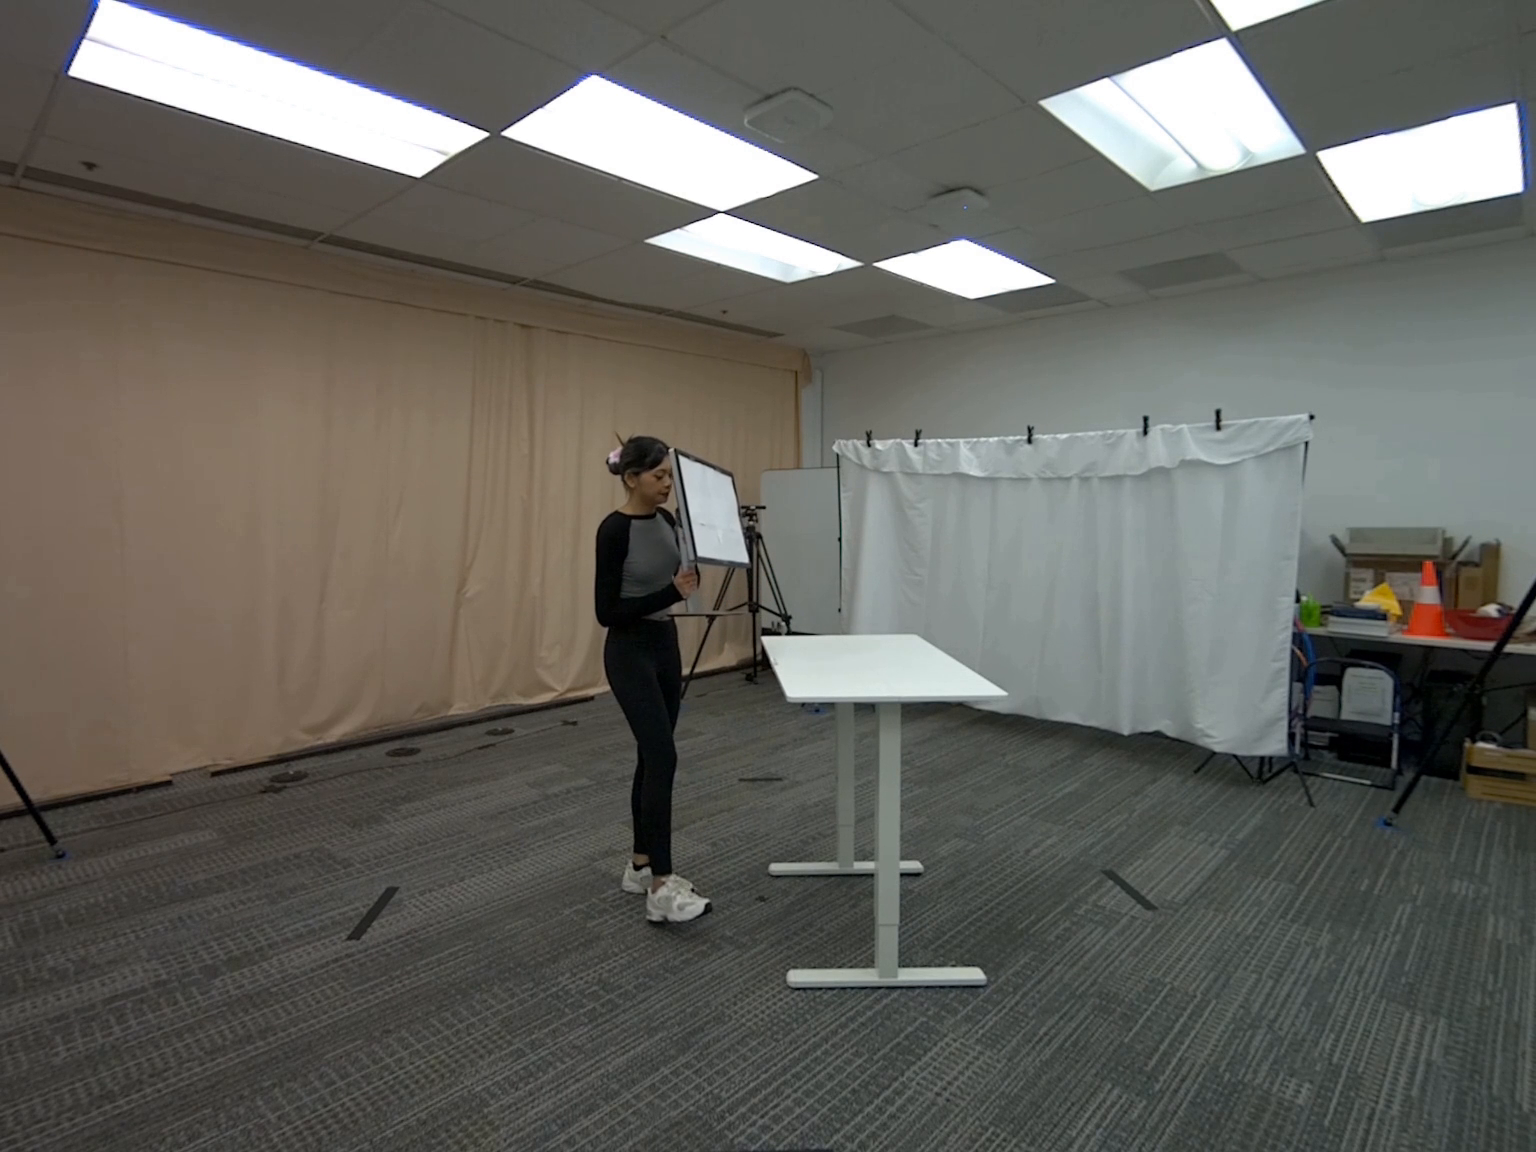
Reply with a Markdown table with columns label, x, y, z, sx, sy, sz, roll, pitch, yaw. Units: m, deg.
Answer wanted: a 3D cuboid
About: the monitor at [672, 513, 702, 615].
| label | x | y | z | sx | sy | sz | roll | pitch | yaw |
| --- | --- | --- | --- | --- | --- | --- | --- | --- | --- |
| monitor | -0.203 | -0.128 | 2.859 | 0.190 | 0.524 | 0.528 | -3 | -3 | 15 |
